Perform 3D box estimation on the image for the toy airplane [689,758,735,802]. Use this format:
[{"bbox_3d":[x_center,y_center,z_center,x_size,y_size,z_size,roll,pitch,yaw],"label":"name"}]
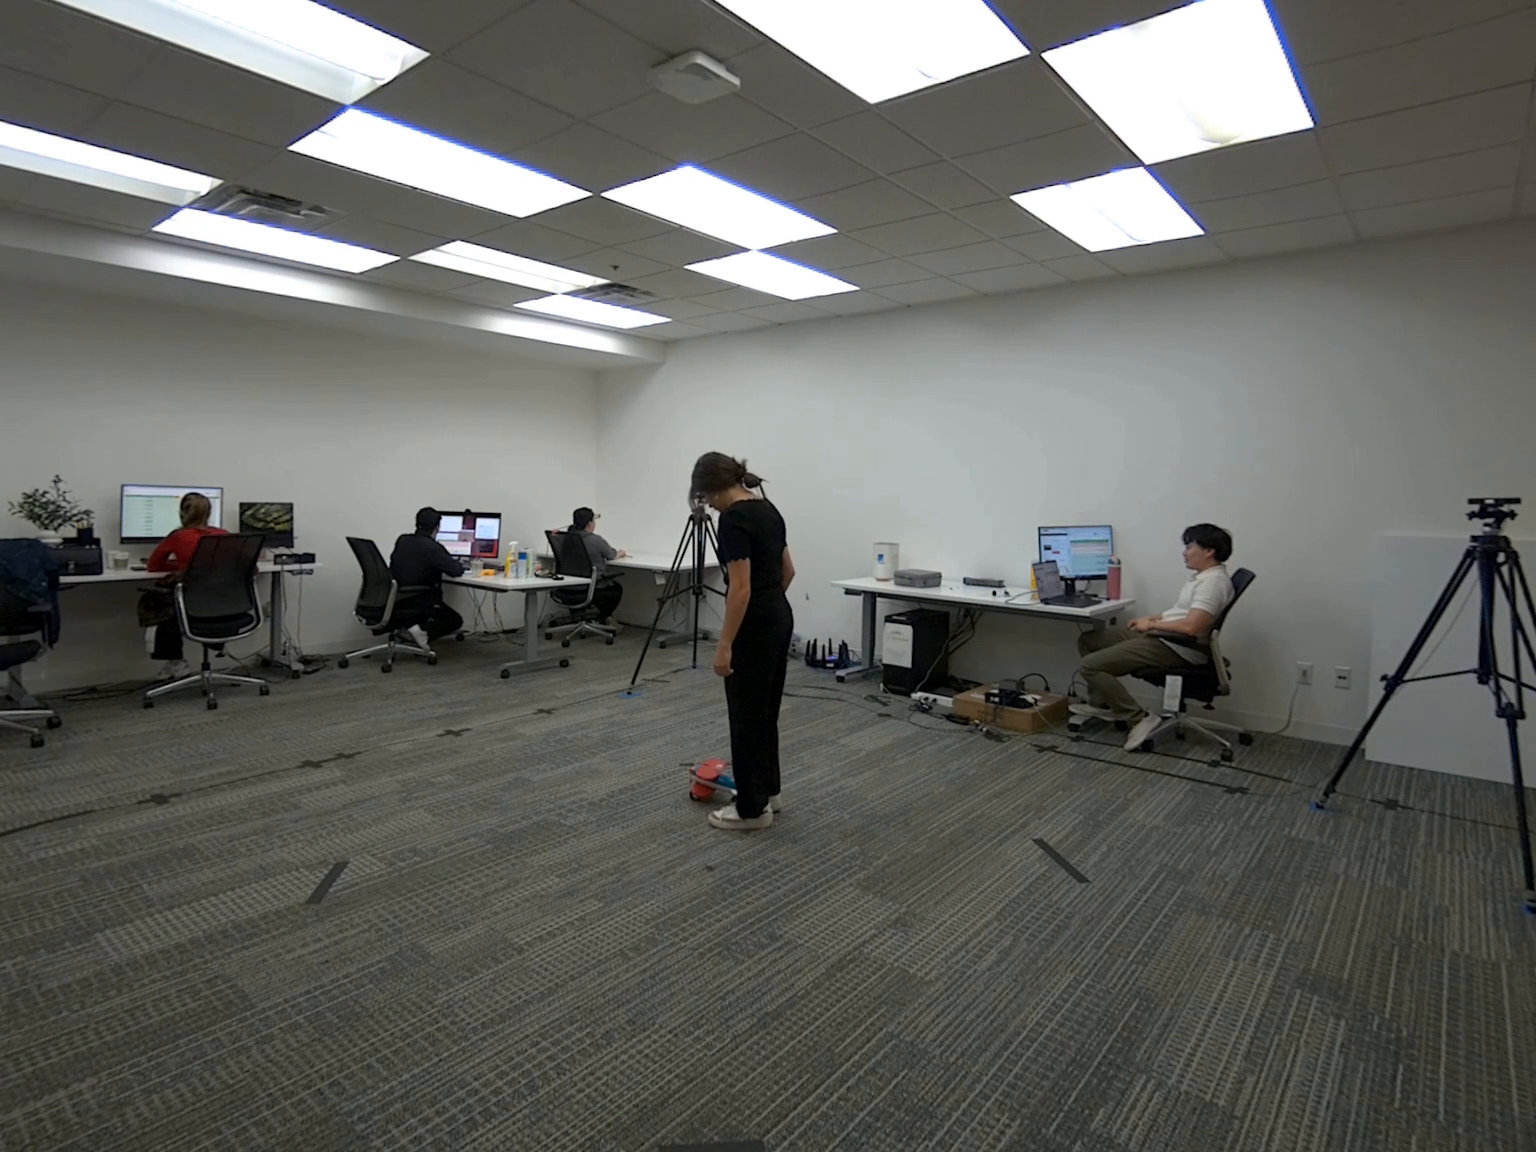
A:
[{"bbox_3d":[-0.244,0.920,3.822,0.256,0.156,0.255,-2,5,-12],"label":"toy airplane"}]
